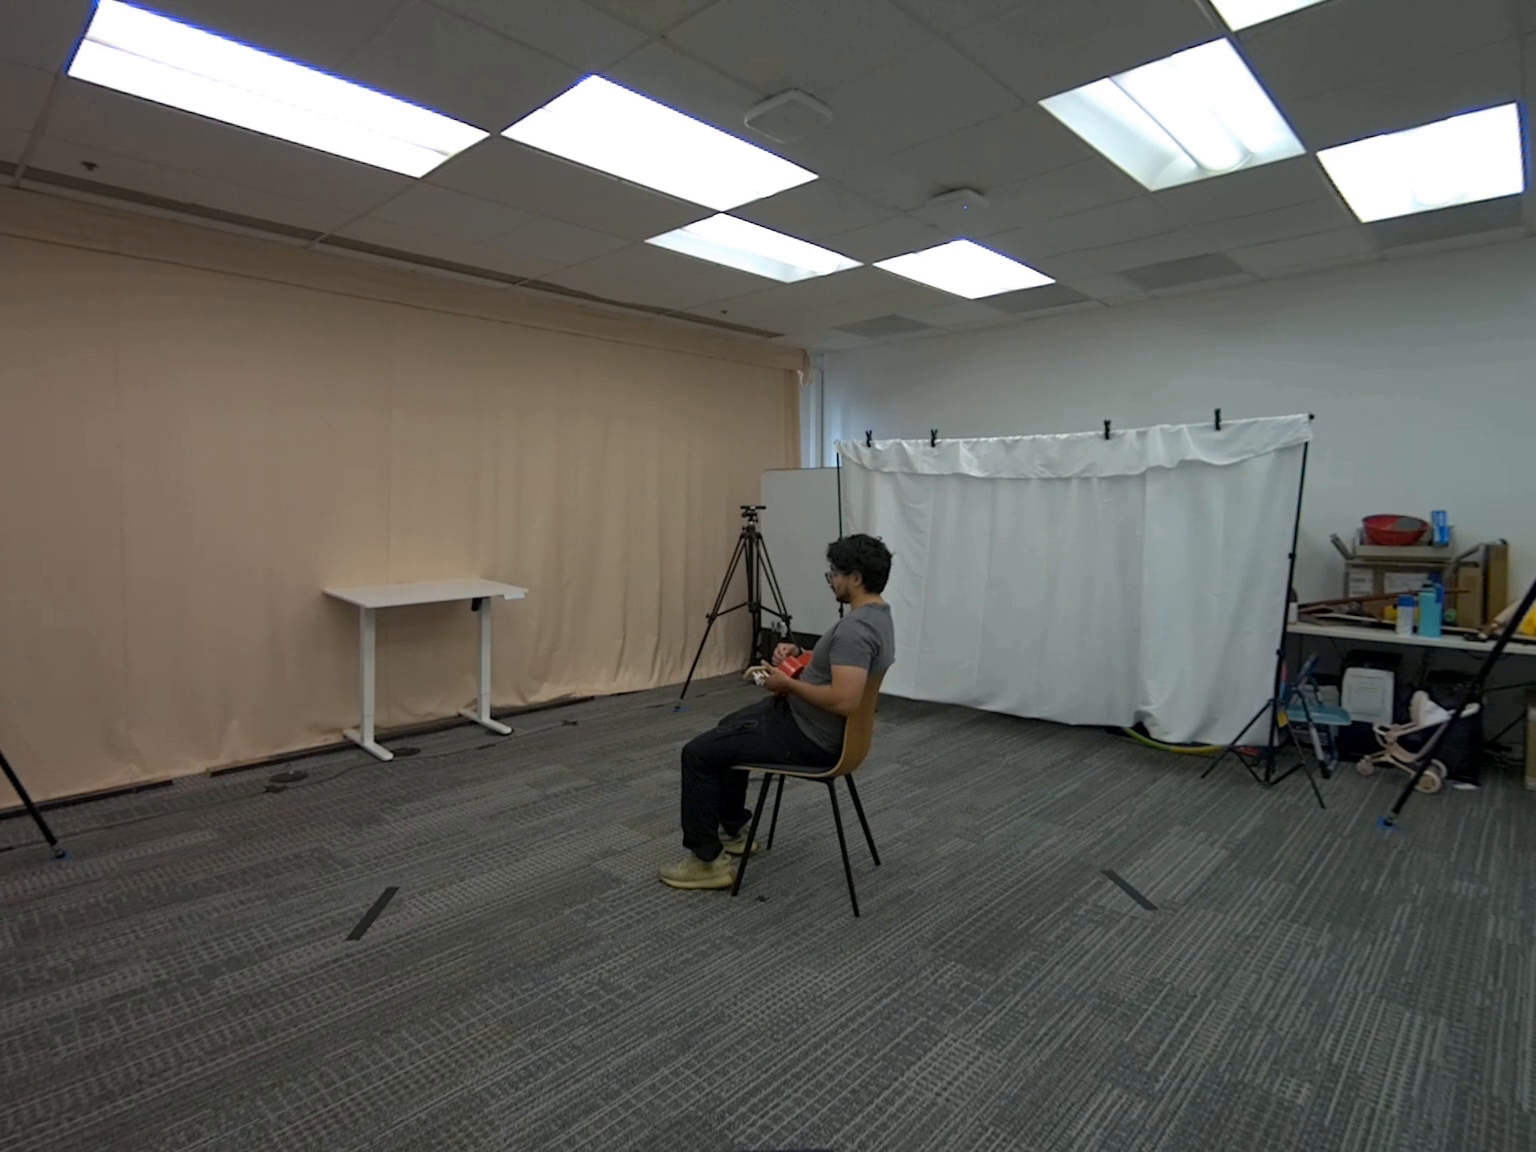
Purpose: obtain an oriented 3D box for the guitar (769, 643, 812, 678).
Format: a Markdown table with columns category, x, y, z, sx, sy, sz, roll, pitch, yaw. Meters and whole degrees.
| category | x | y | z | sx | sy | sz | roll | pitch | yaw |
| --- | --- | --- | --- | --- | --- | --- | --- | --- | --- |
| guitar | 0.034 | 0.385 | 3.076 | 0.072 | 0.193 | 0.485 | 41 | 22 | 21 |
